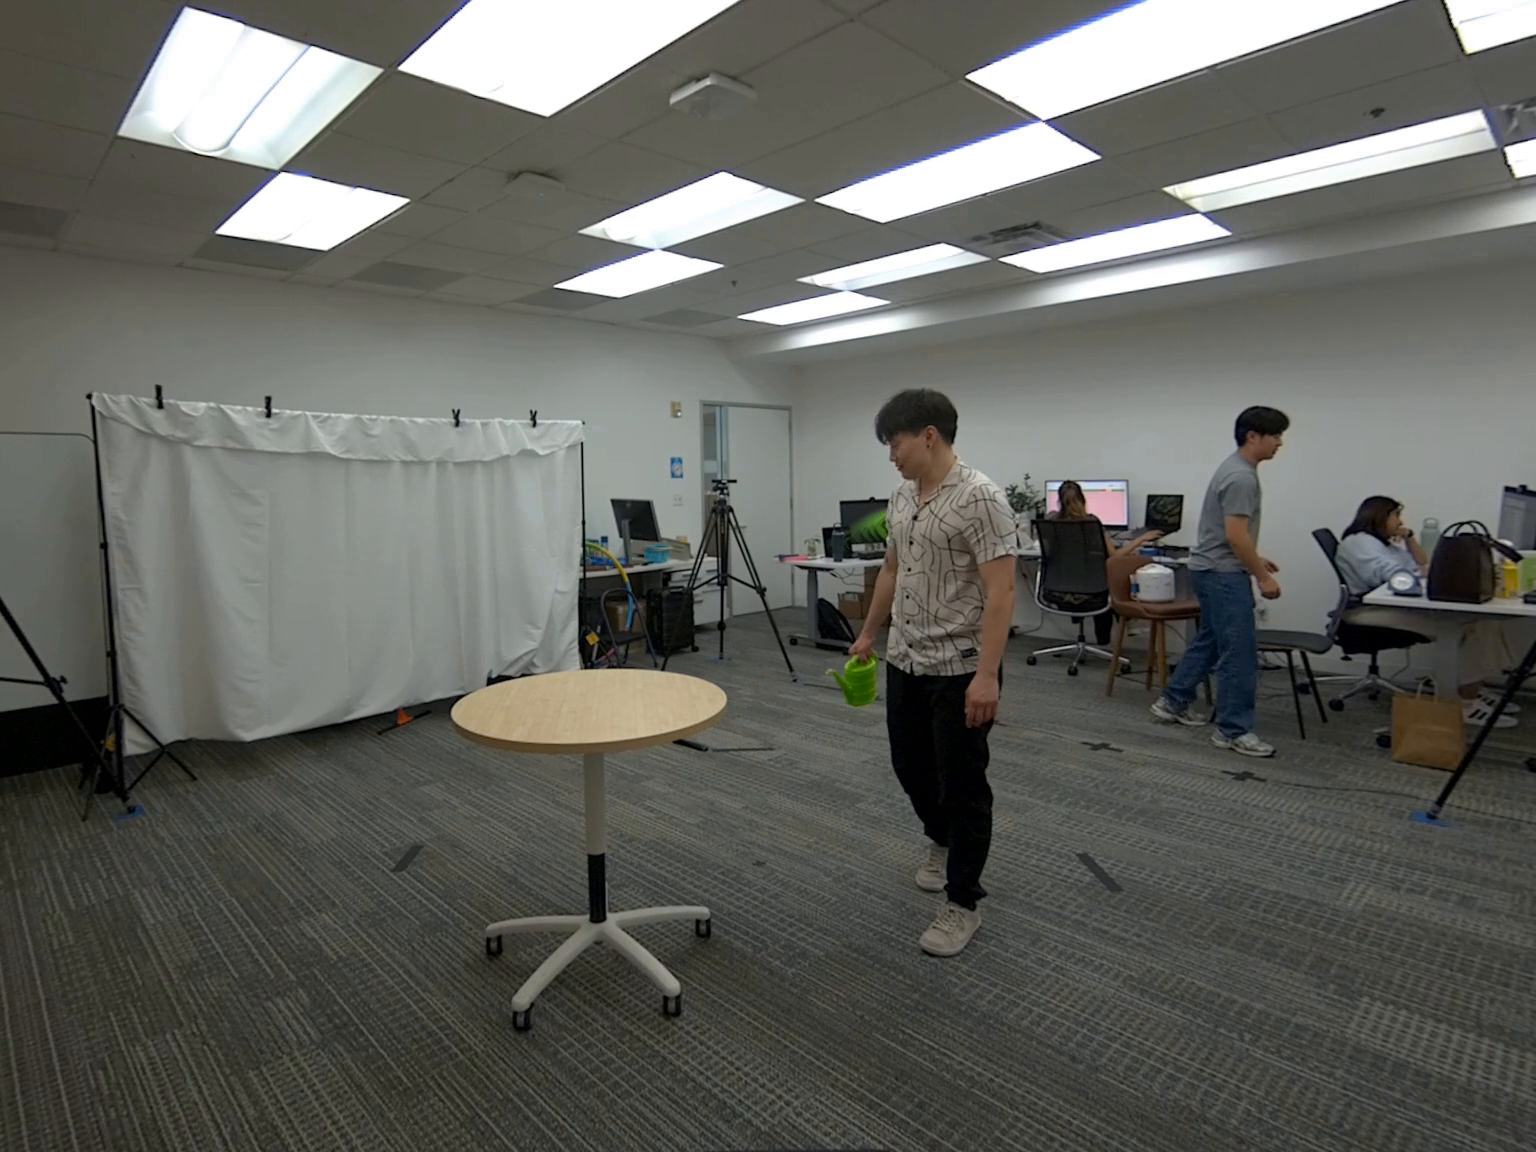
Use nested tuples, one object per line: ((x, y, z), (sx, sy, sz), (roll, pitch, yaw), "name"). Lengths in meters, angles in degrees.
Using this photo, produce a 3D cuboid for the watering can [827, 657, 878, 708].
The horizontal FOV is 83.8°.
((0.299, 0.356, 2.934), (0.273, 0.174, 0.101), (-14, 18, -34), "watering can")
